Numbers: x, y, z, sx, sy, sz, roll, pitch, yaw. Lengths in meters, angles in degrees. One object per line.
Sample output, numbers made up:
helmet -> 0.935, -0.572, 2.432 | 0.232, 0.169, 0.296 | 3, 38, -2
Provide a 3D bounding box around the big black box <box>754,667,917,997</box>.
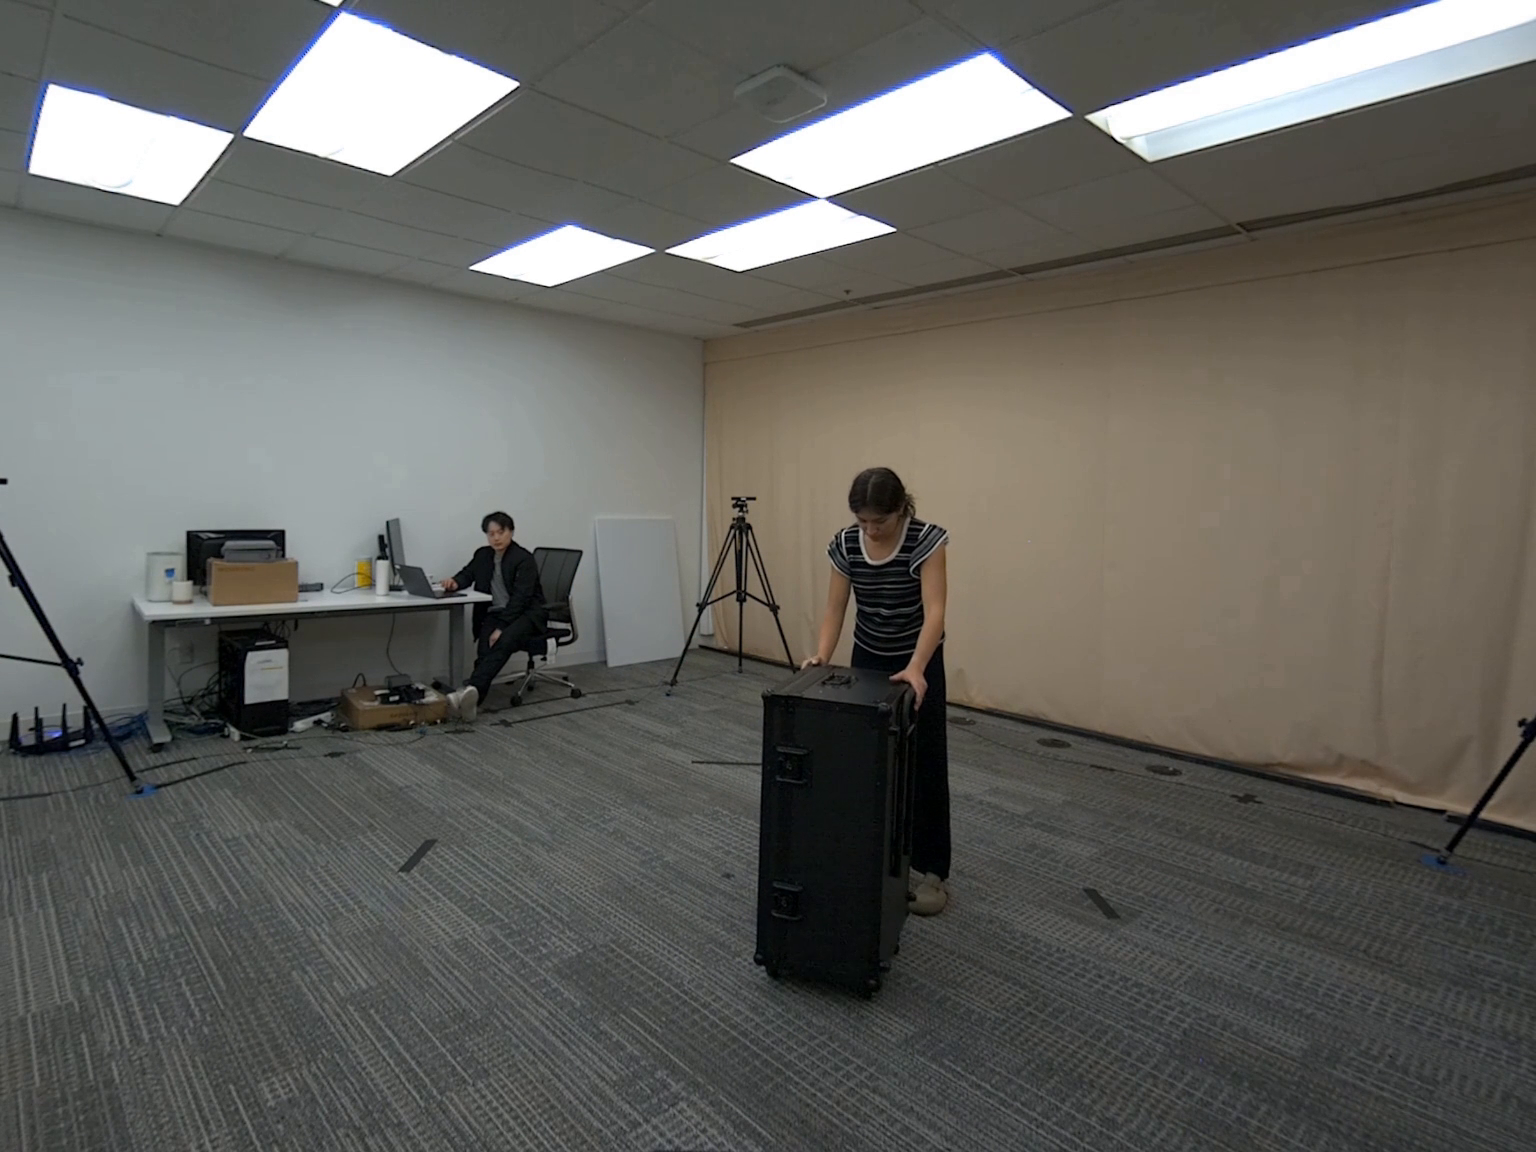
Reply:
big black box -> 0.215, 0.746, 2.527 | 0.403, 0.859, 0.513 | 4, 4, 21
